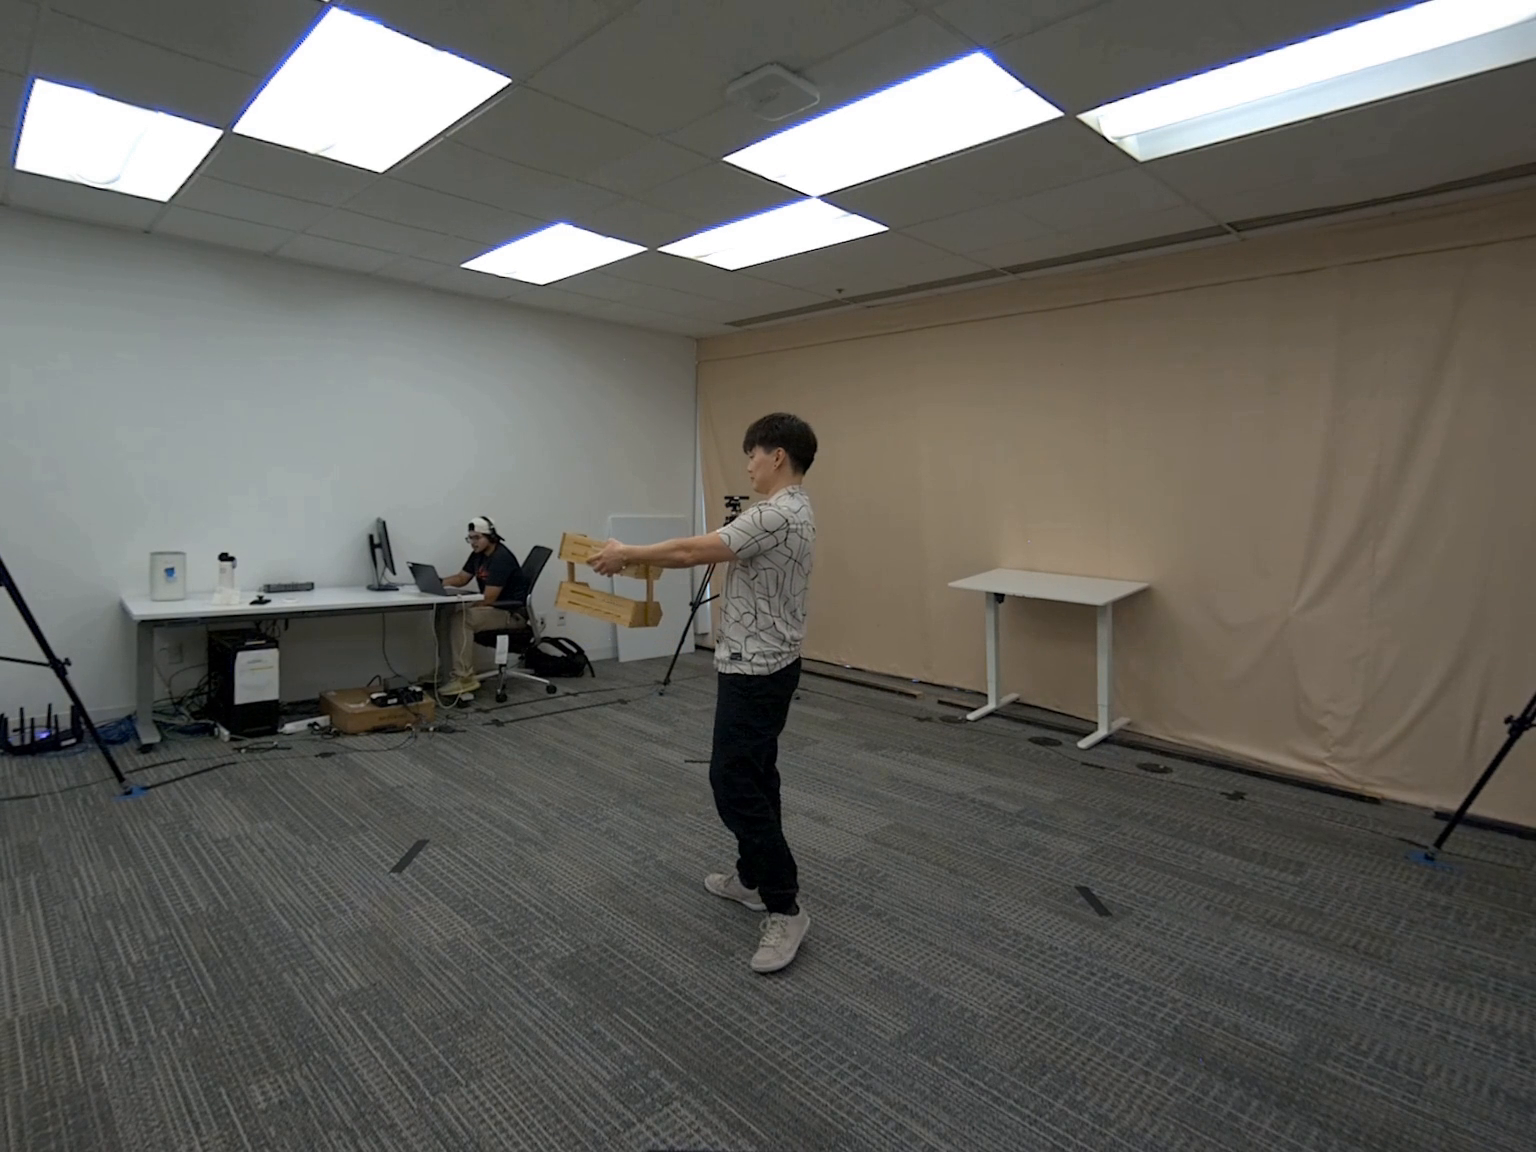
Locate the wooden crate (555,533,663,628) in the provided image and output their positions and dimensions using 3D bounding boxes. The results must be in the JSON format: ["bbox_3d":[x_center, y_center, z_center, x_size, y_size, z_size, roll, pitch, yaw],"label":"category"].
[{"bbox_3d":[-0.542,0.018,2.946,0.330,0.273,0.297,13,1,17],"label":"wooden crate"}]
